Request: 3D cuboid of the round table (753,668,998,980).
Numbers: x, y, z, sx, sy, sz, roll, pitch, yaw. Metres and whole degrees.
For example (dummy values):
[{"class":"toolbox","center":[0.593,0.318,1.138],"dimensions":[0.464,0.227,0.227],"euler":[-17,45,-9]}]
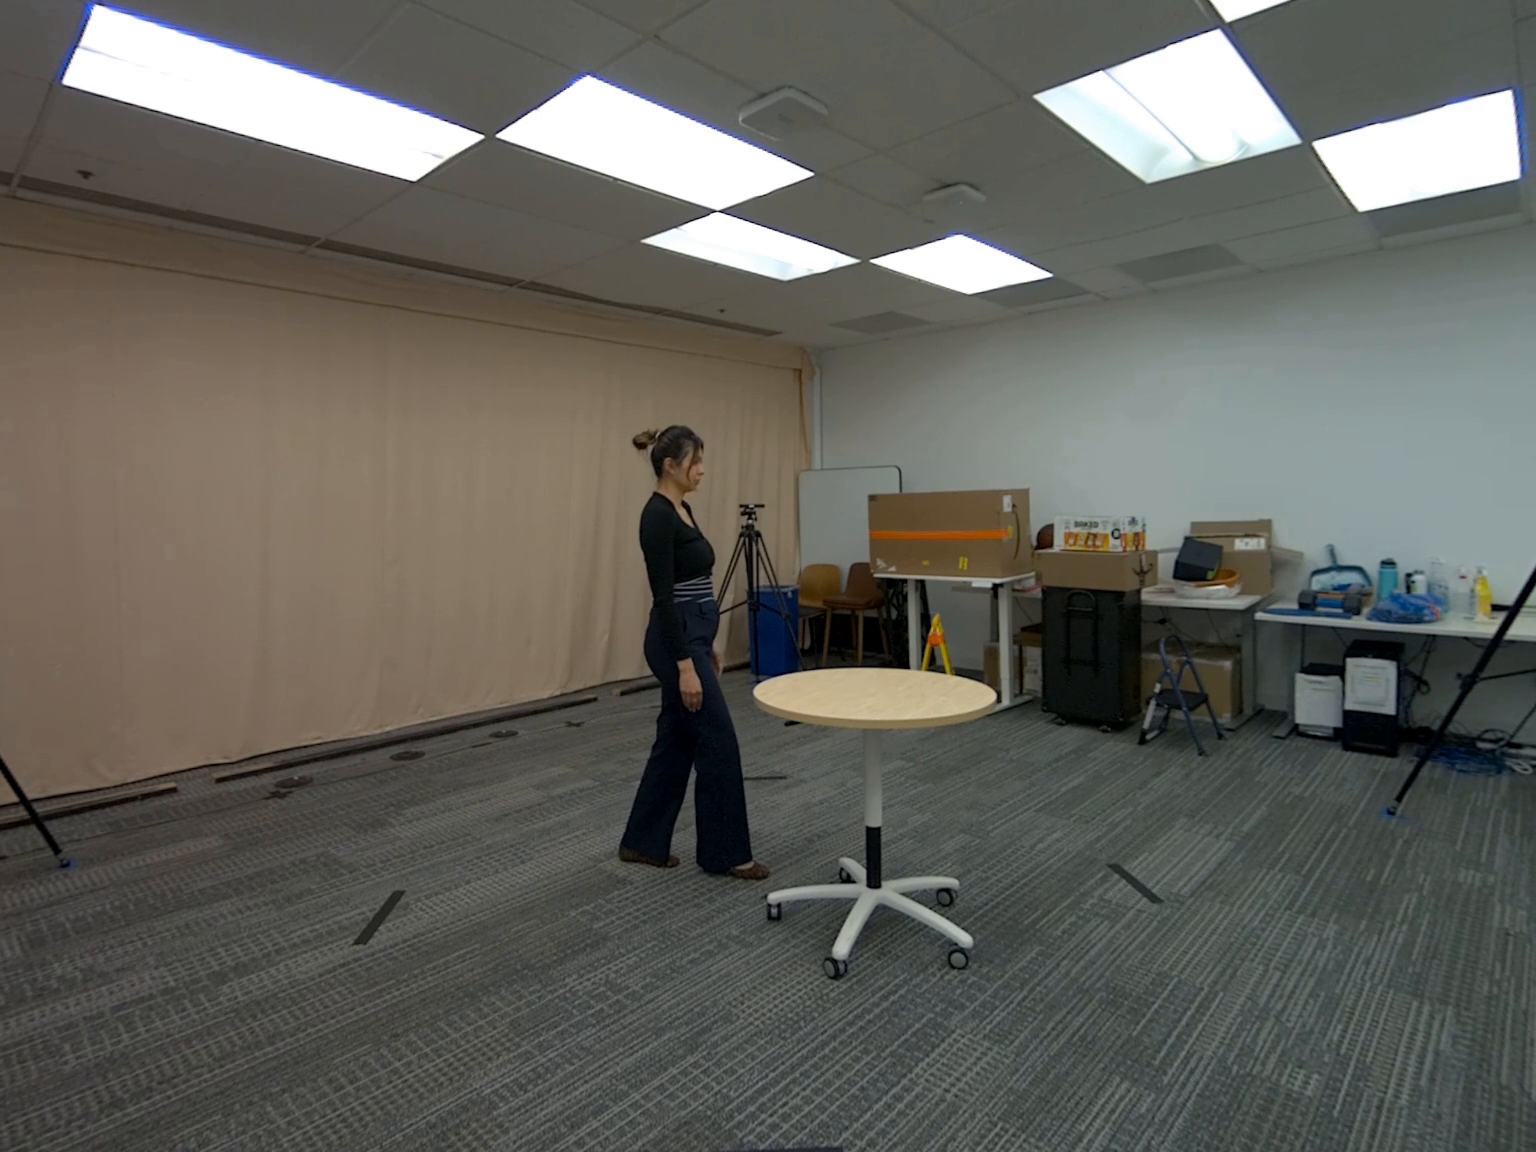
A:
[{"class":"round table","center":[0.352,0.766,2.733],"dimensions":[0.763,0.792,0.767],"euler":[-1,4,-2]}]
